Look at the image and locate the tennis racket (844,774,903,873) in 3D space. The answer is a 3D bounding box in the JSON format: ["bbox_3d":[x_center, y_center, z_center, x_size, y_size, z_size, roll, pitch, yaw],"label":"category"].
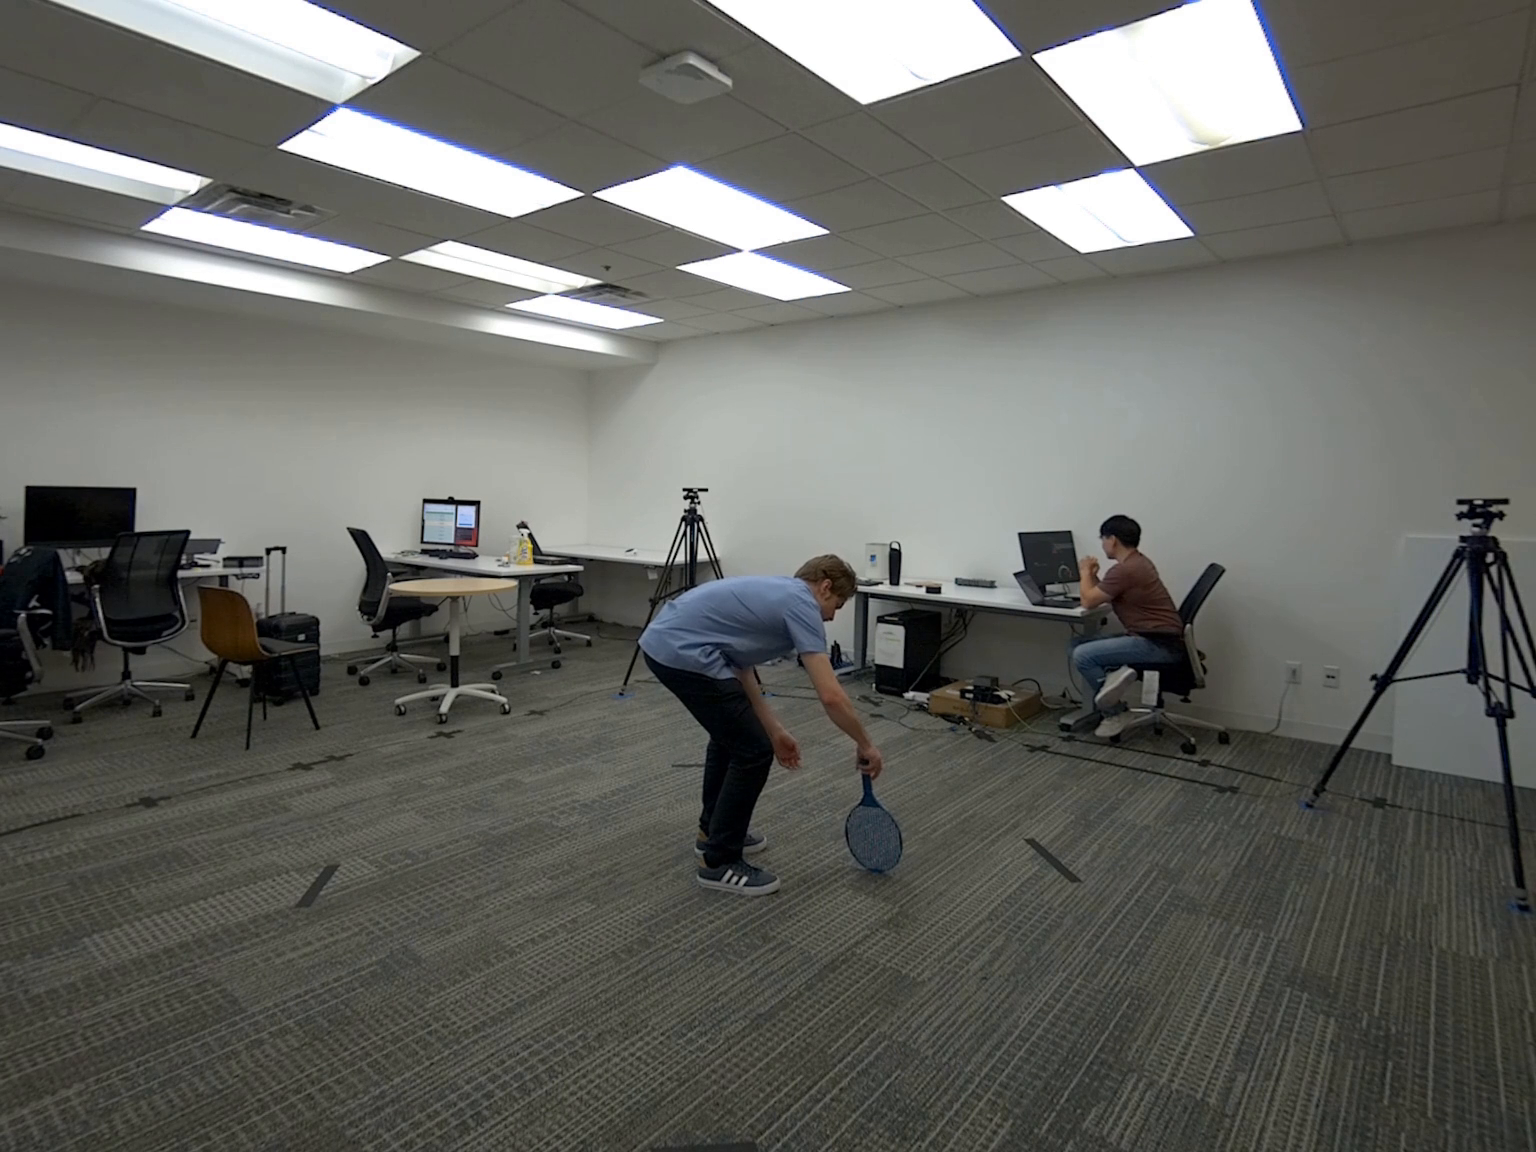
[{"bbox_3d":[0.363,0.867,3.094,0.219,0.429,0.031,0,9,26],"label":"tennis racket"}]
